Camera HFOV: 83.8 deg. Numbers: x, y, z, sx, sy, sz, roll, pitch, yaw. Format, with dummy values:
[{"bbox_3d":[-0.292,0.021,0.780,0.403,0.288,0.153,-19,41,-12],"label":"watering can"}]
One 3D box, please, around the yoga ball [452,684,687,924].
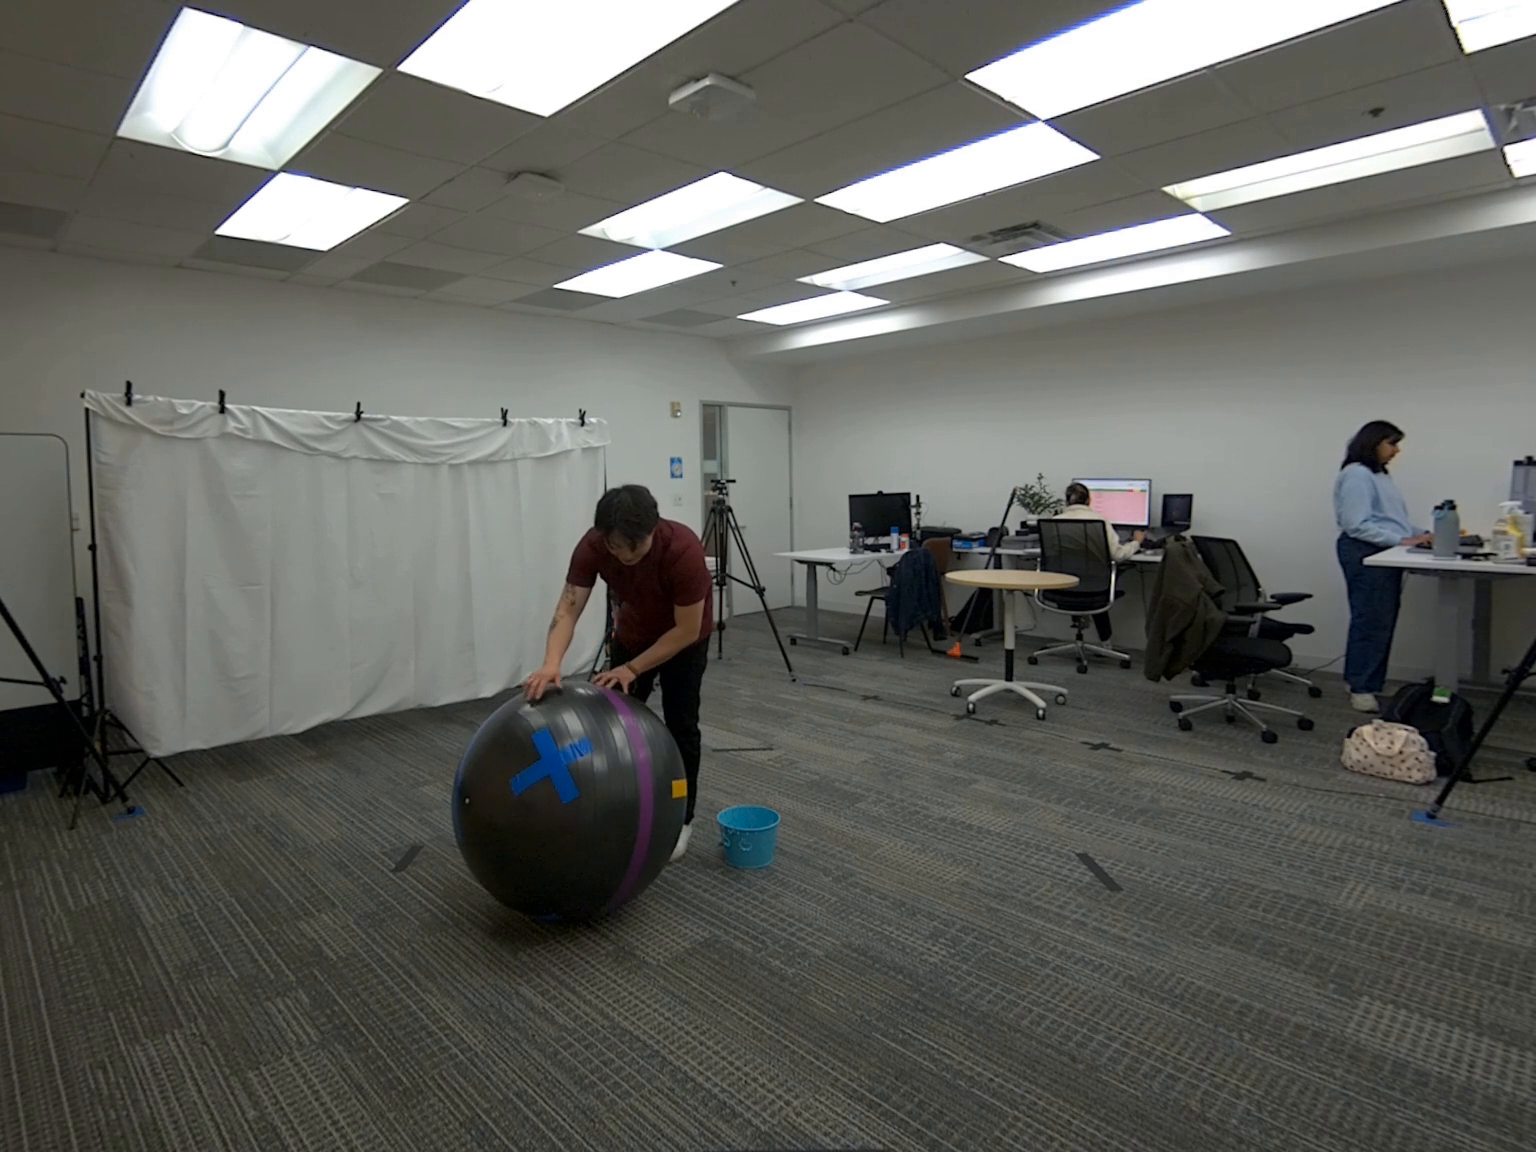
[{"bbox_3d":[-0.646,0.731,2.819,0.757,0.755,0.762,-1,5,-2],"label":"yoga ball"}]
